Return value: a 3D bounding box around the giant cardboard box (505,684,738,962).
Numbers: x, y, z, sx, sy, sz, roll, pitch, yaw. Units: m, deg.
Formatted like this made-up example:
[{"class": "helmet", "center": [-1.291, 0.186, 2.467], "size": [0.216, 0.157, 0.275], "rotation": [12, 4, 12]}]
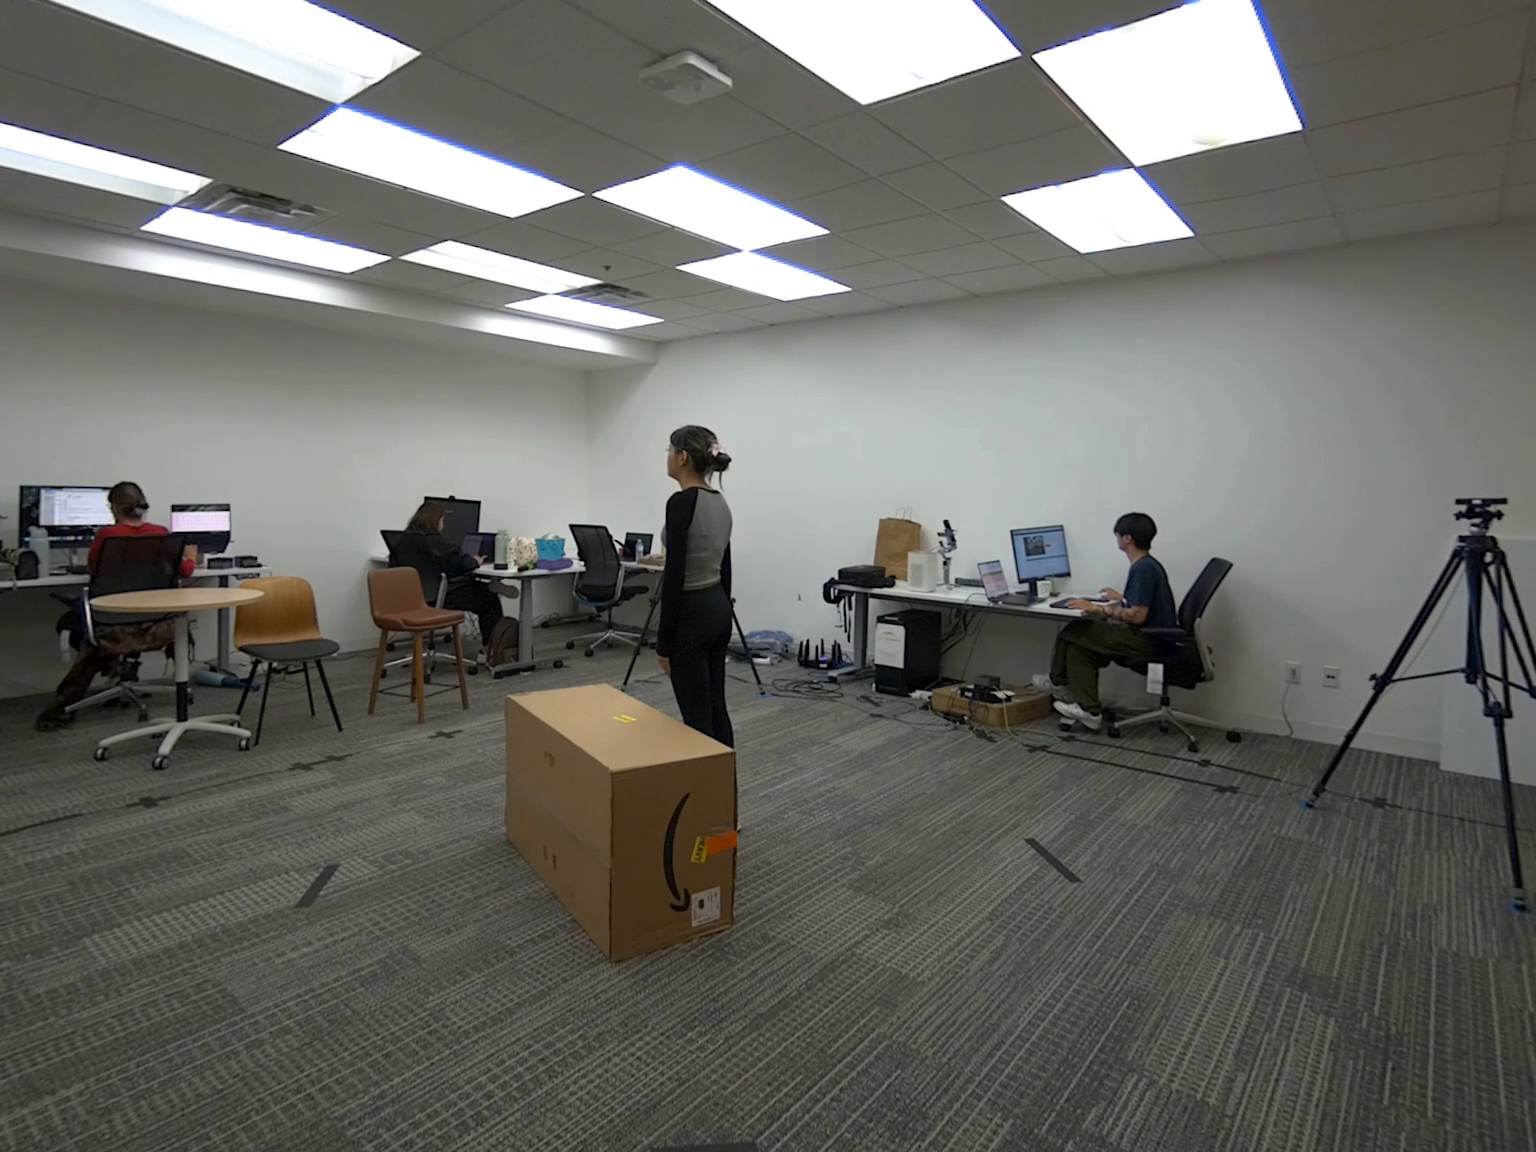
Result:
[{"class": "giant cardboard box", "center": [-0.574, 0.786, 2.996], "size": [0.434, 0.582, 1.060], "rotation": [0, 5, -33]}]
